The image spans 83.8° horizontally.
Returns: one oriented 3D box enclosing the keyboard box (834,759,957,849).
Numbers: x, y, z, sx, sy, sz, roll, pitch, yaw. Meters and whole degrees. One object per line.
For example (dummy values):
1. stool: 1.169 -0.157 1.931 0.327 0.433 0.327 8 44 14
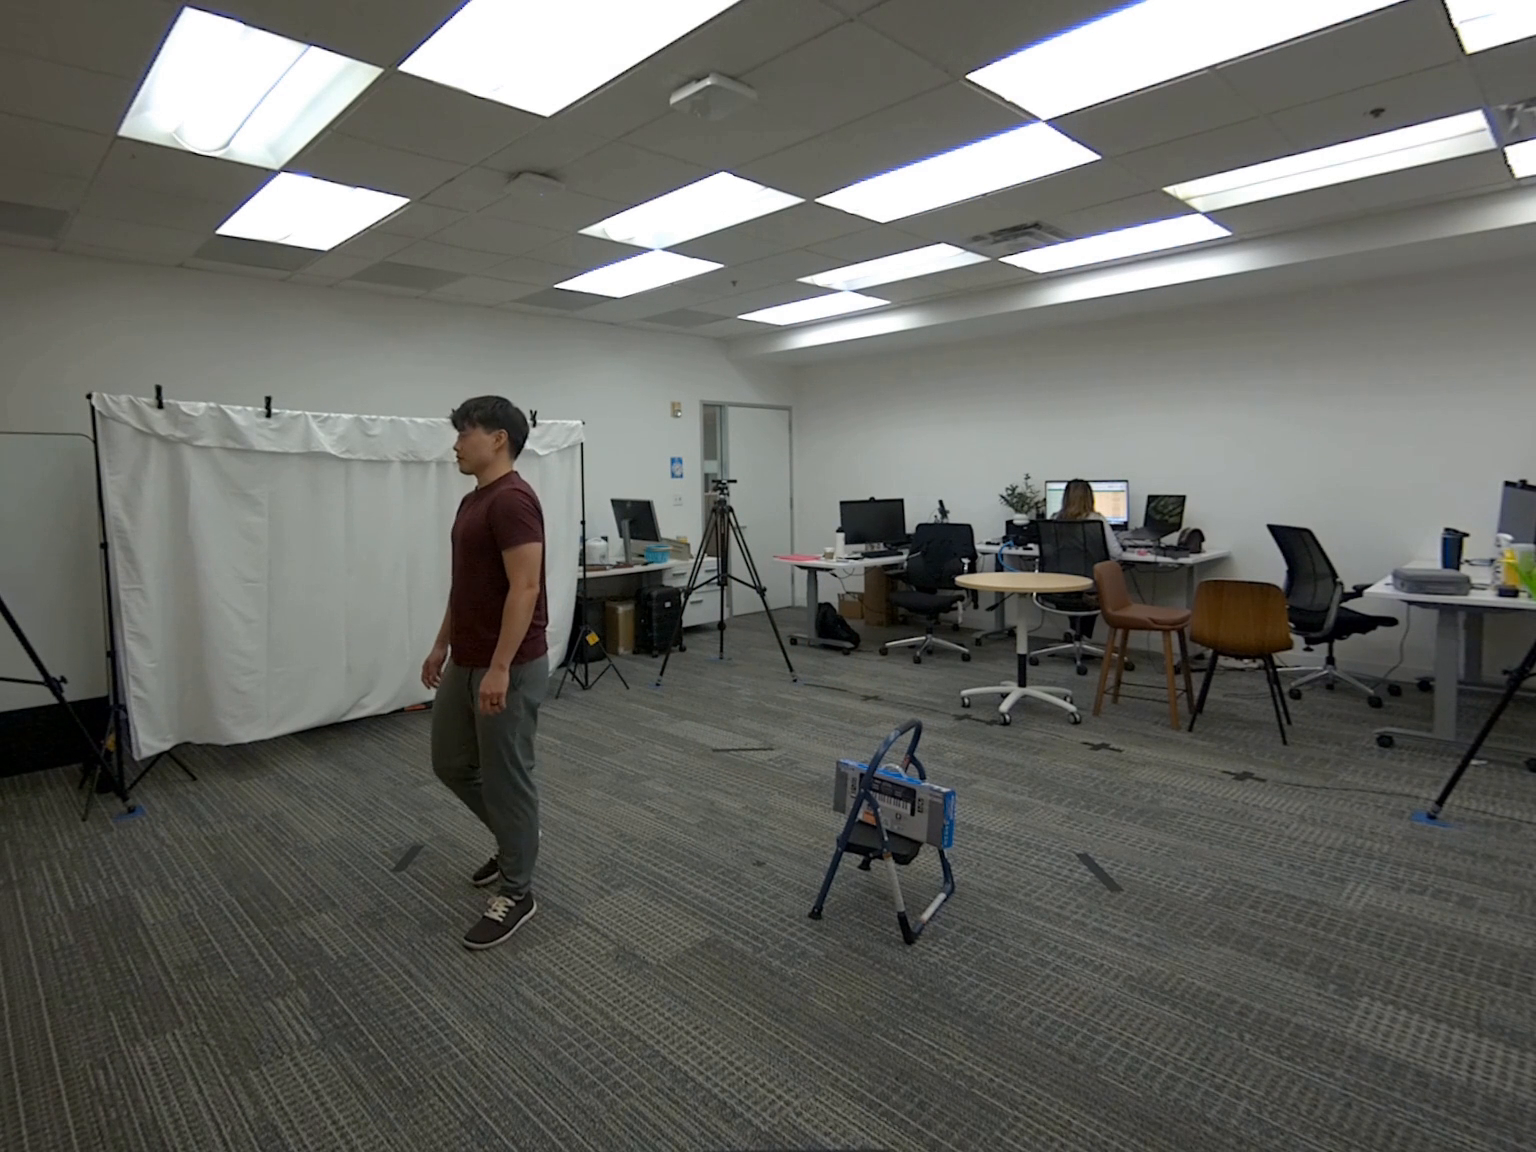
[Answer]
1. keyboard box: 0.396 0.724 2.764 0.057 0.176 0.450 6 -1 -43
